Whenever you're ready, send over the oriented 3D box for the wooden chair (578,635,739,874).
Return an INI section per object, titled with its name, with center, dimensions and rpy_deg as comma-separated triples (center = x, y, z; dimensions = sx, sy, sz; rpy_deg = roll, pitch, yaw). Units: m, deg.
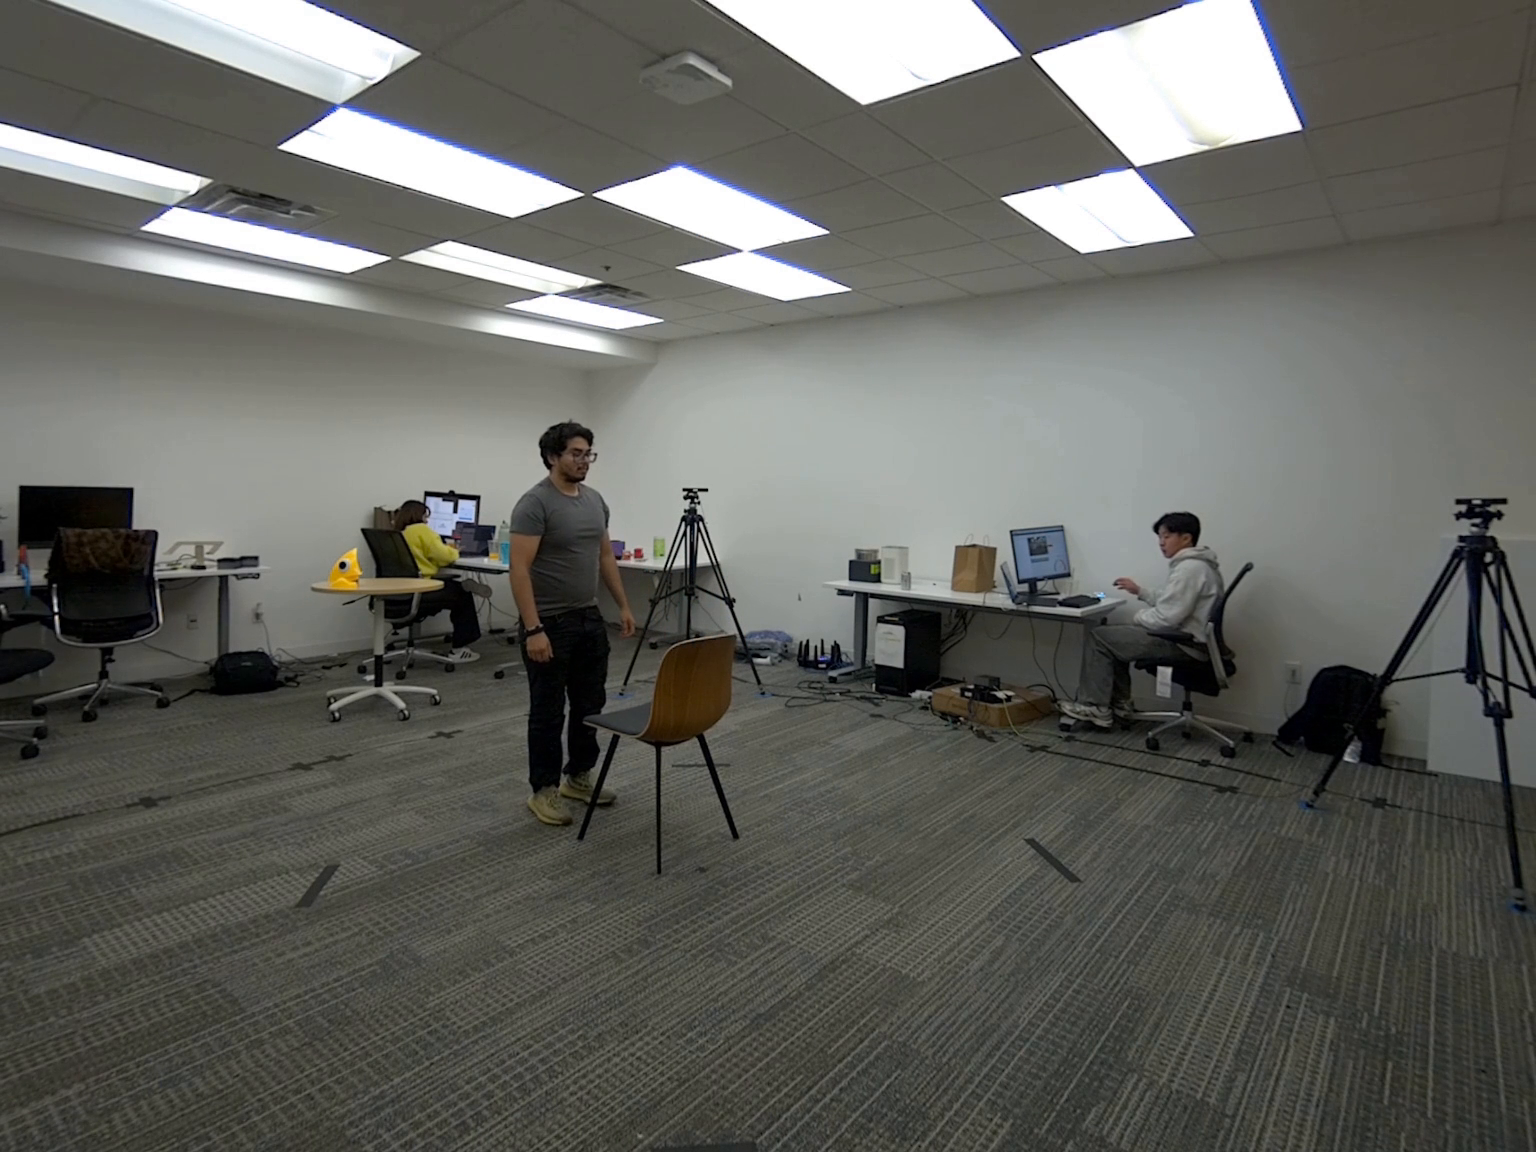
[wooden chair]
center = -0.441, 0.617, 3.348
dimensions = 0.542, 0.873, 0.464
rpy_deg = 9, 7, 39
